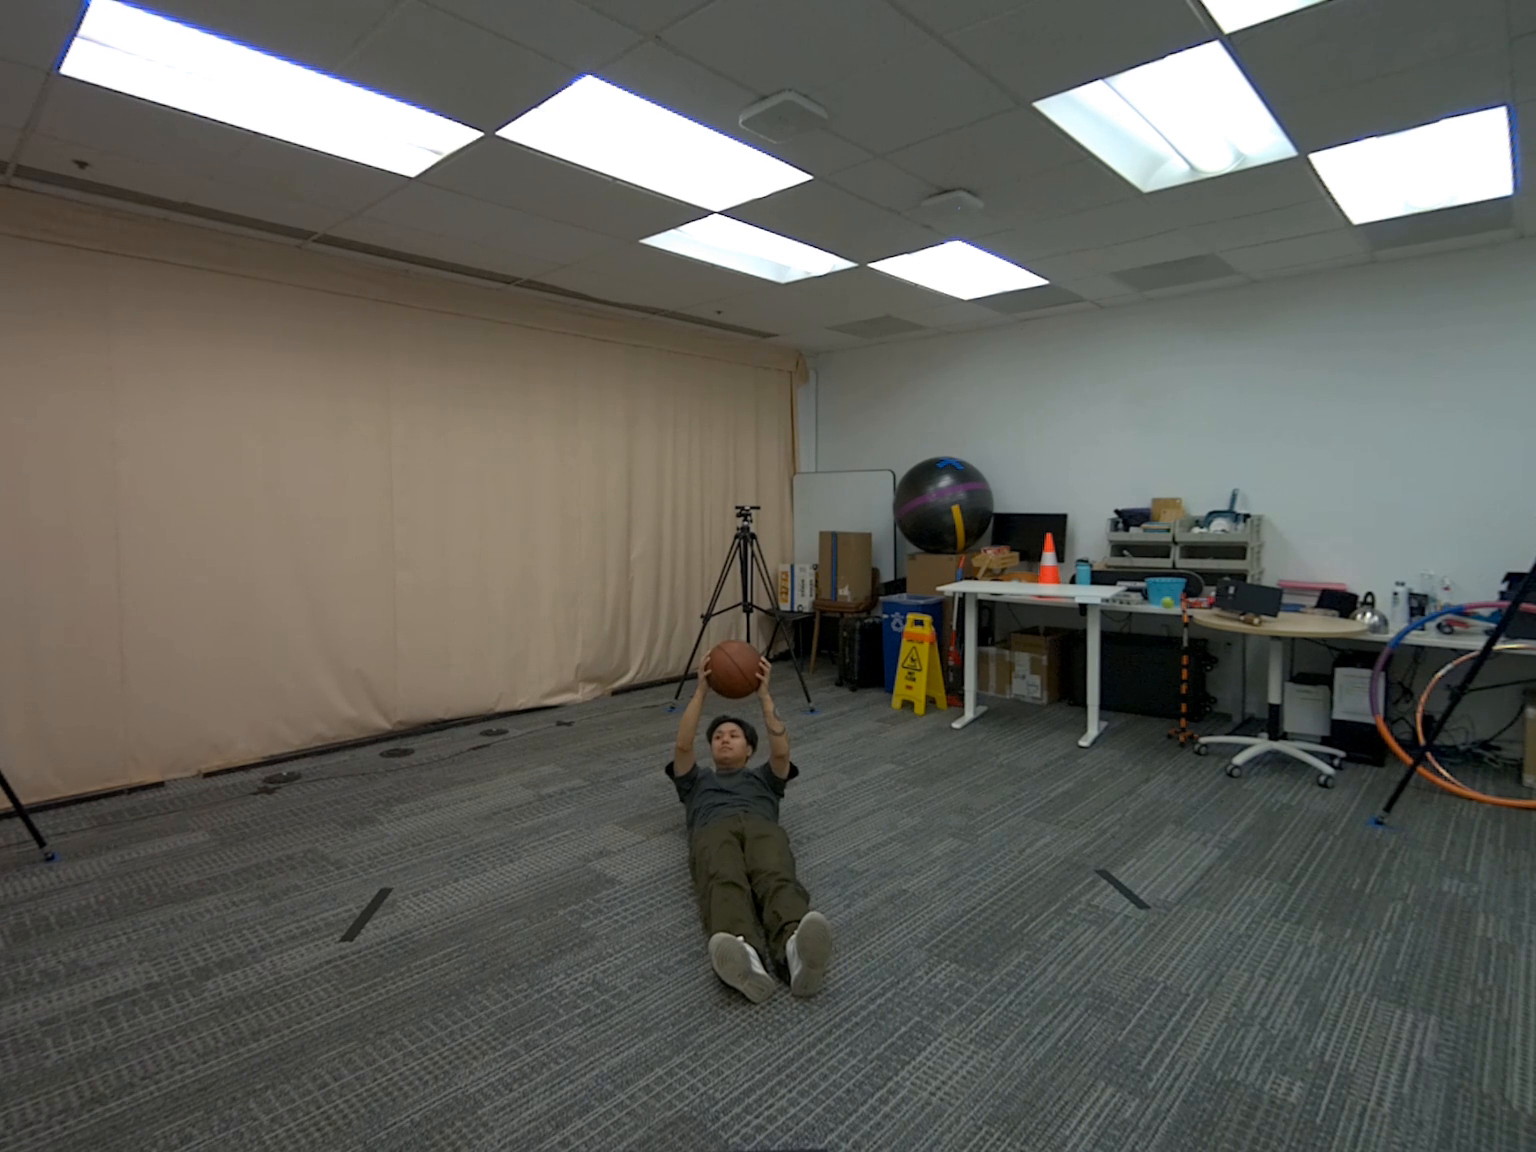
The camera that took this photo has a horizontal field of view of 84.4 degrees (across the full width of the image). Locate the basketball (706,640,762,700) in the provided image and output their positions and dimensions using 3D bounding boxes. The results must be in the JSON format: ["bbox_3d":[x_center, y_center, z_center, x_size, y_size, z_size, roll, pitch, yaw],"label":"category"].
[{"bbox_3d":[-0.140,0.389,3.430,0.236,0.235,0.237,0,4,-2],"label":"basketball"}]
